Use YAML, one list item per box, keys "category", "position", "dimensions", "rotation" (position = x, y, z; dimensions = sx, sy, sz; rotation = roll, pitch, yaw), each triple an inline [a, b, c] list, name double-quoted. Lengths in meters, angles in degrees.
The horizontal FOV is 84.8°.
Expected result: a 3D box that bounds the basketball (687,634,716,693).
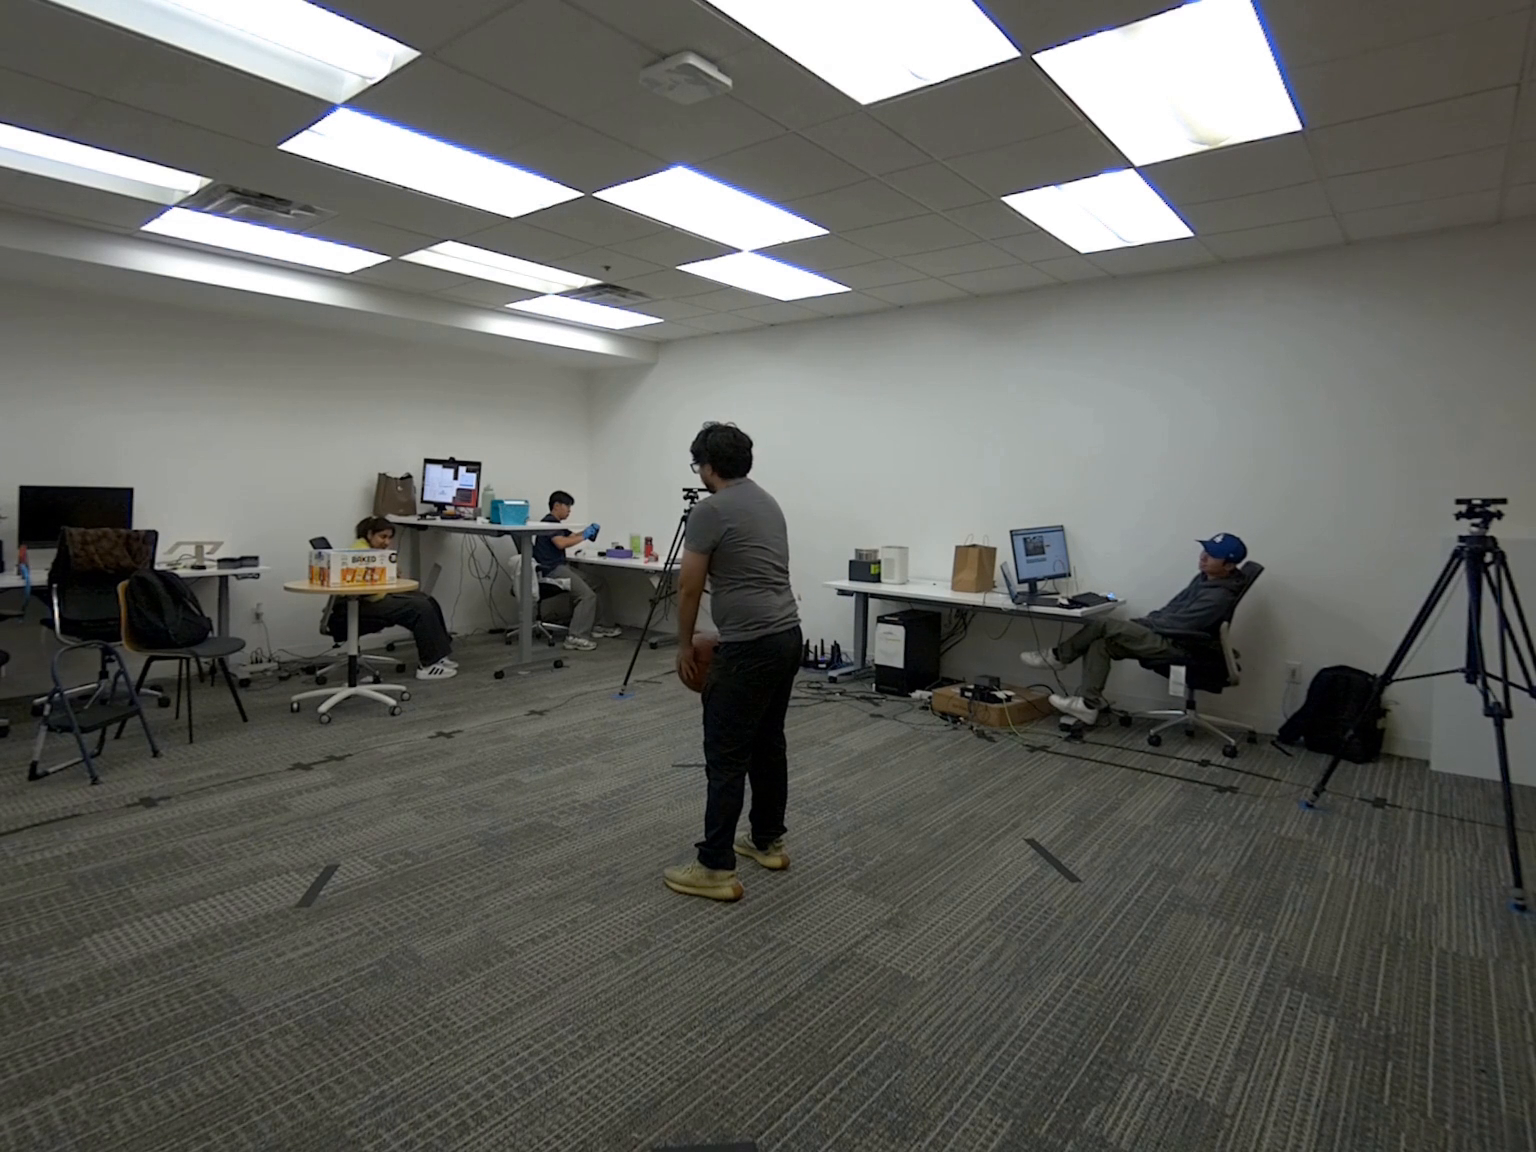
- category: "basketball"
  position: [-0.242, 0.333, 3.331]
  dimensions: [0.235, 0.235, 0.237]
  rotation: [1, 4, -2]
